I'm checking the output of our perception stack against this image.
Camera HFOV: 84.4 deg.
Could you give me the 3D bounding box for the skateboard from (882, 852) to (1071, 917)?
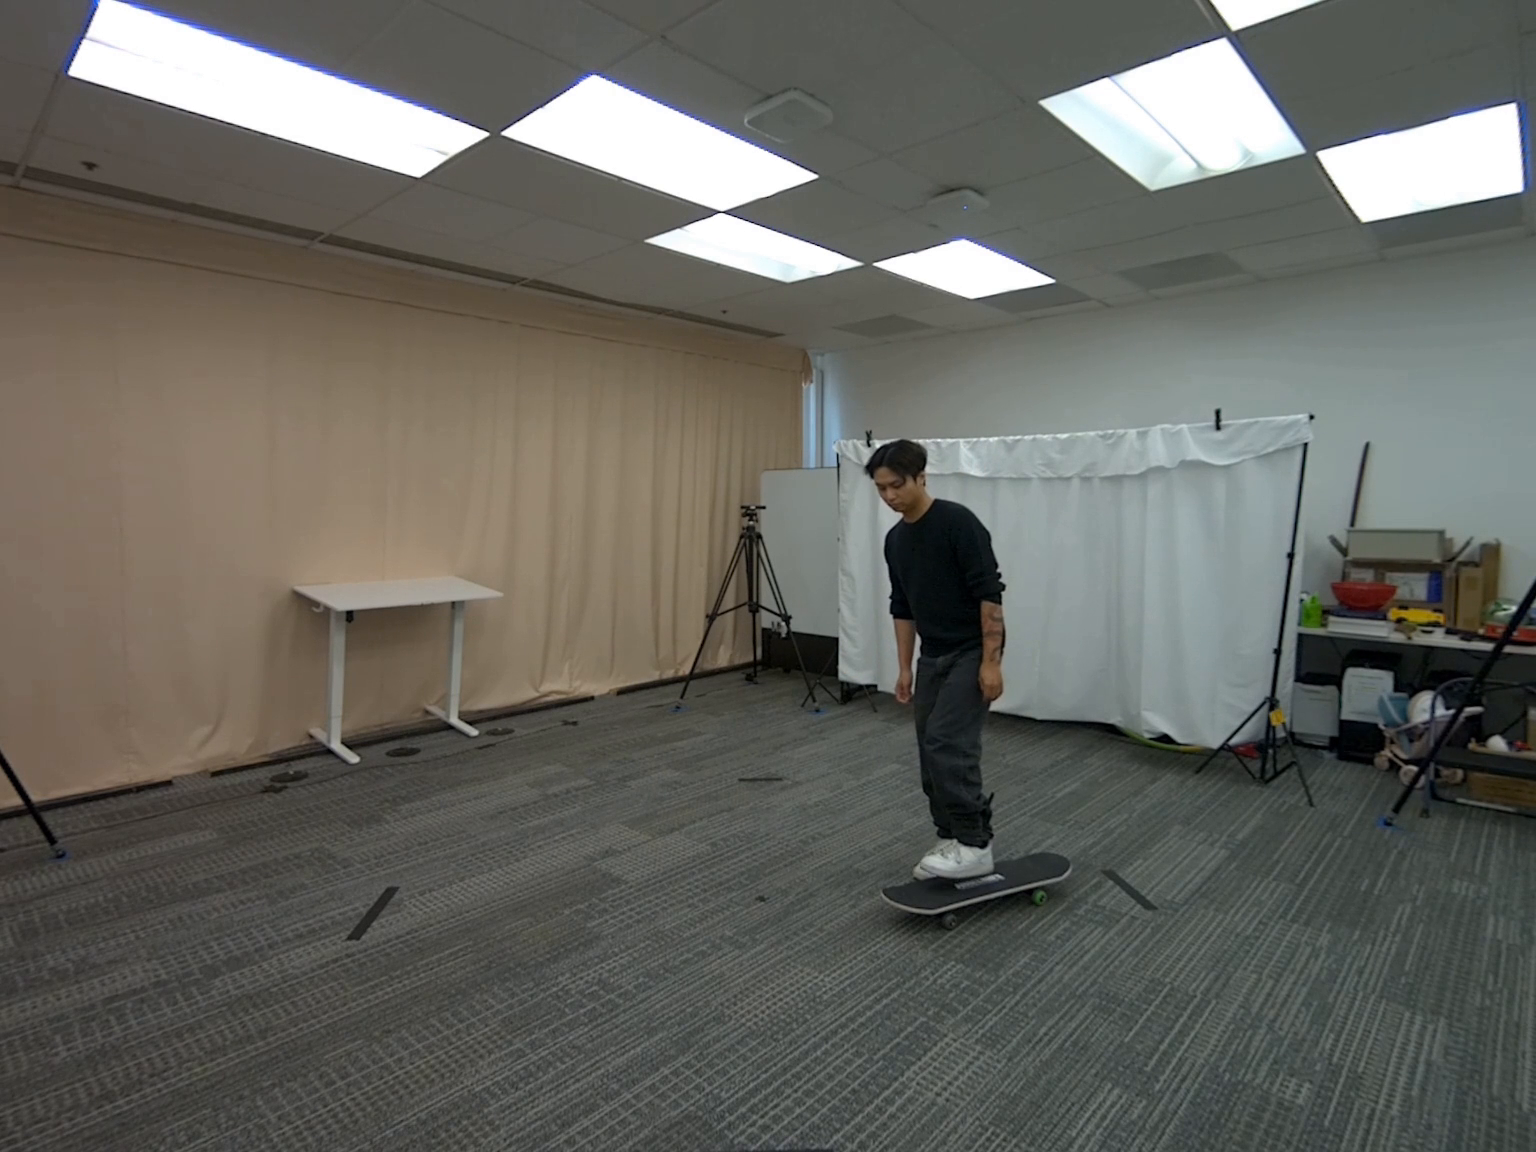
[{"bbox_3d":[0.734,1.089,2.911,0.766,0.110,0.198,-2,4,-25],"label":"skateboard"}]
